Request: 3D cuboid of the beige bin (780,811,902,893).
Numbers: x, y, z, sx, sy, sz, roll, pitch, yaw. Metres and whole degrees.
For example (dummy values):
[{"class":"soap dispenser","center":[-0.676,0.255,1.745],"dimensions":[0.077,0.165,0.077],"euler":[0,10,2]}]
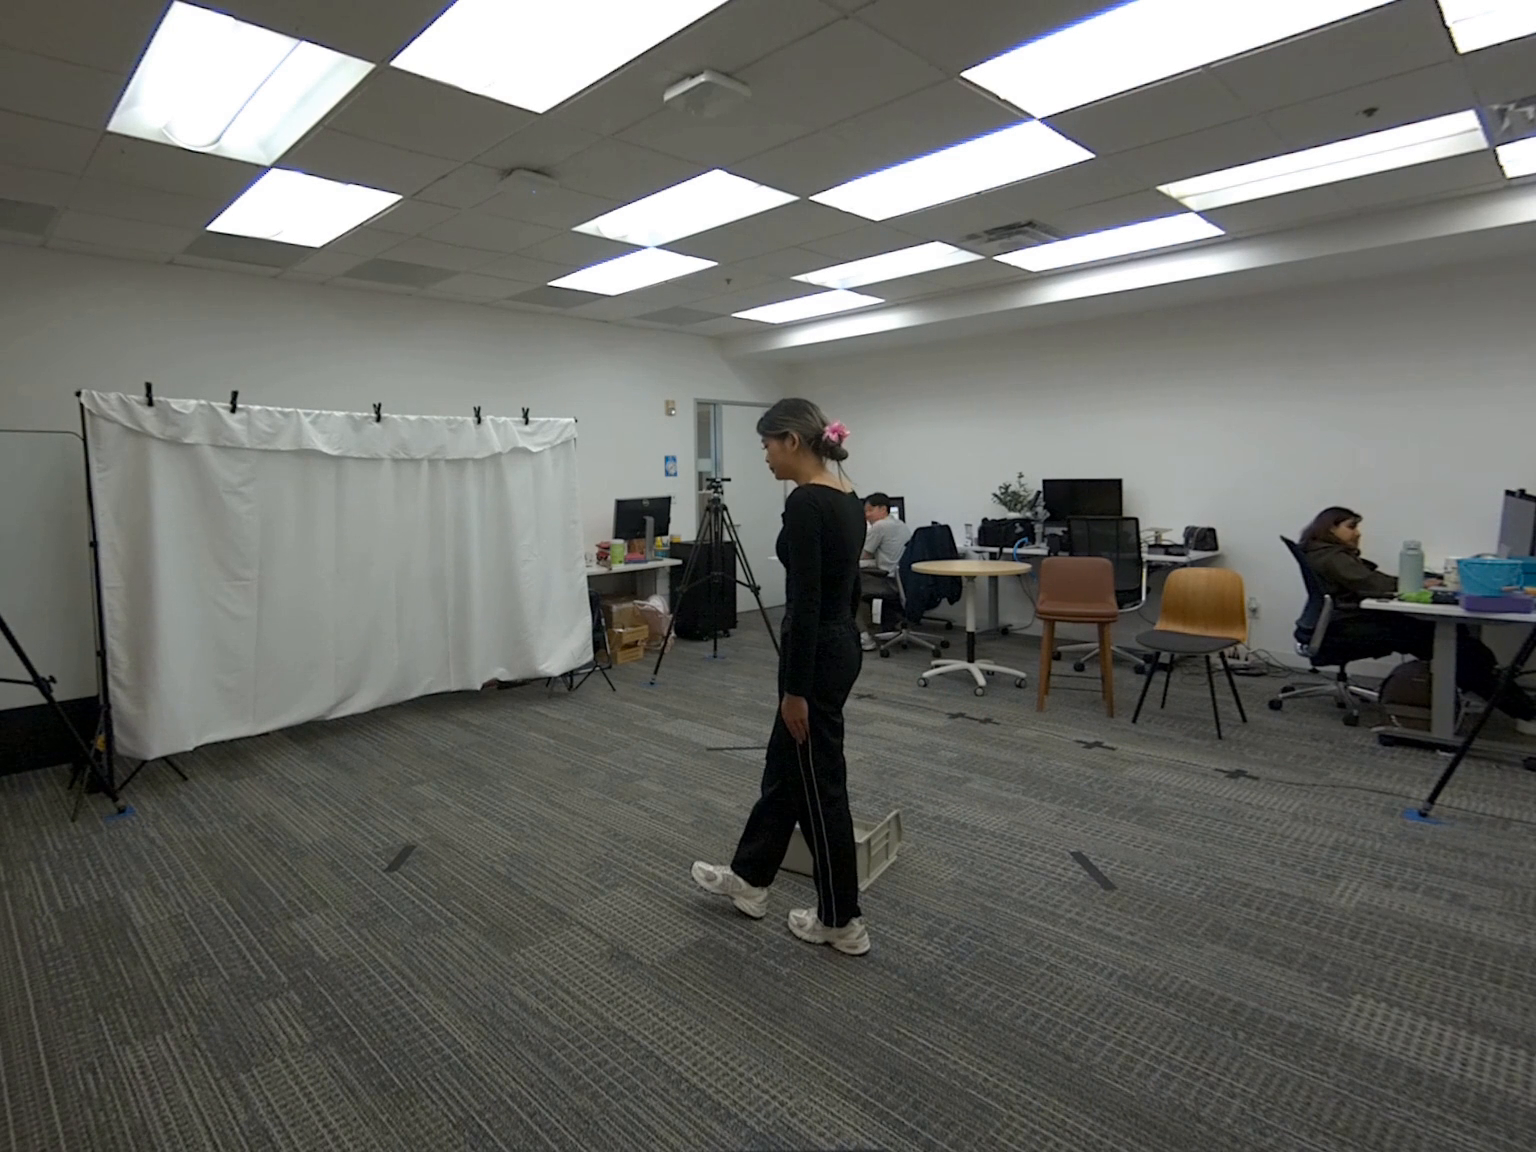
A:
[{"class":"beige bin","center":[0.227,0.951,3.120],"dimensions":[0.434,0.188,0.369],"euler":[3,8,32]}]
